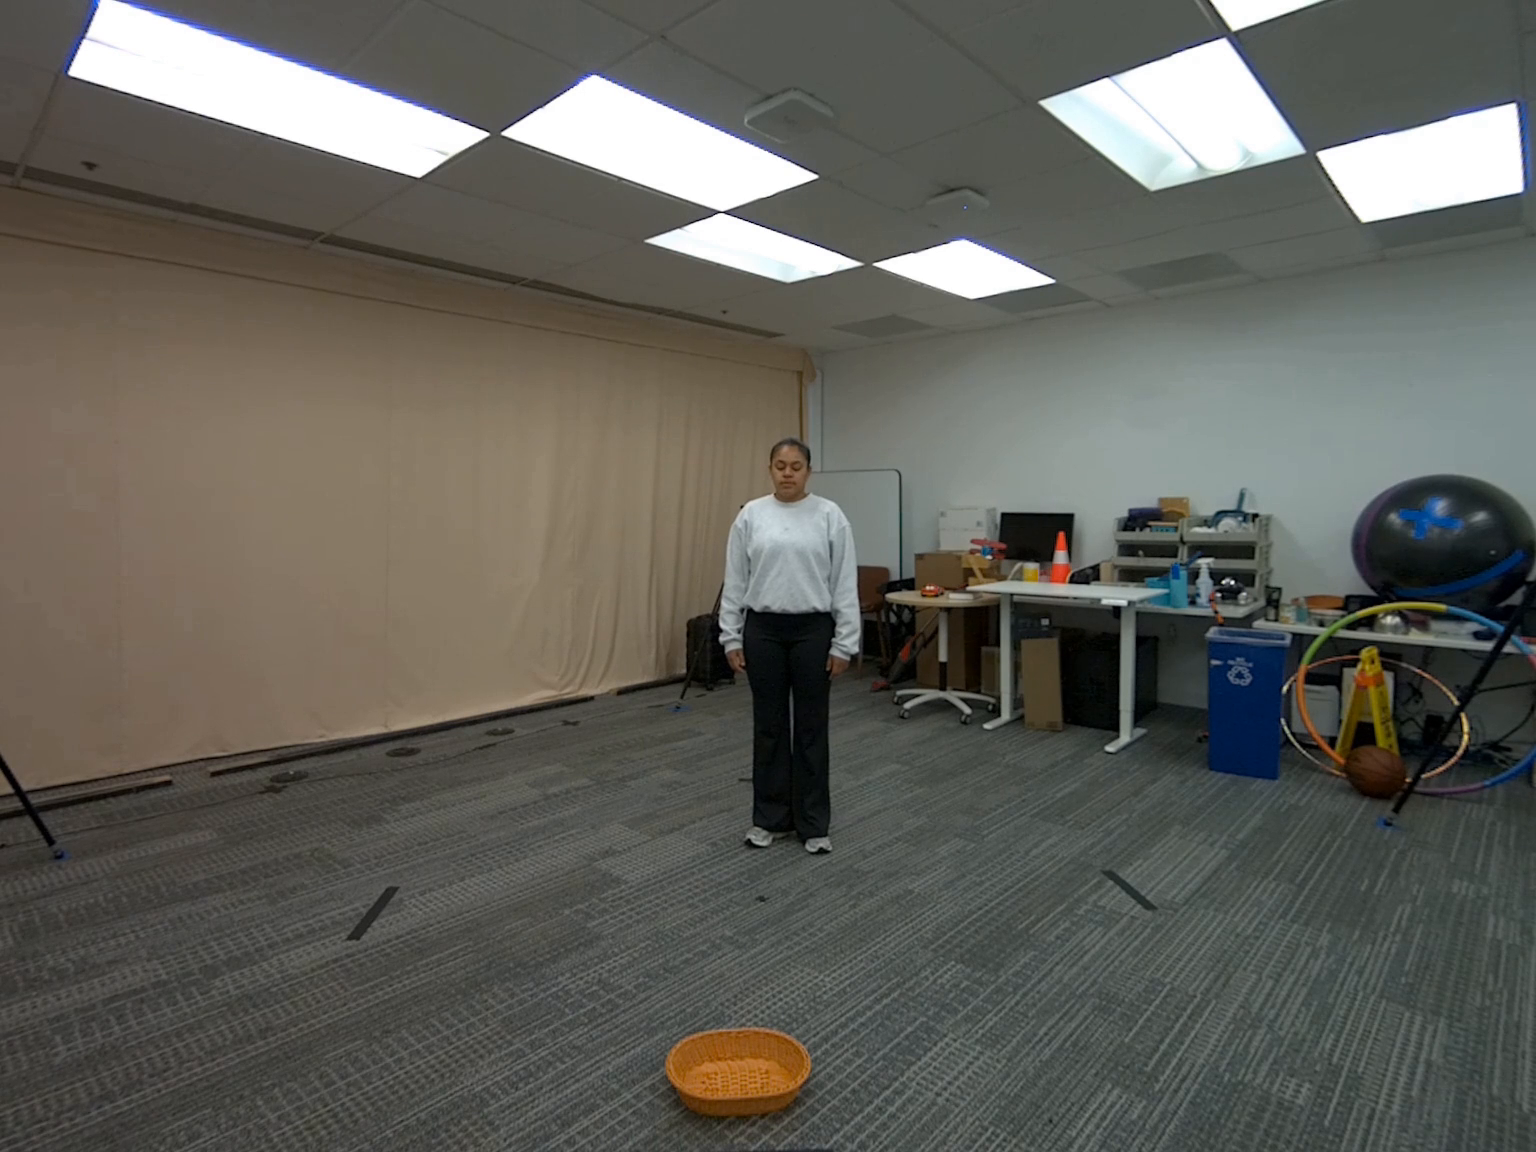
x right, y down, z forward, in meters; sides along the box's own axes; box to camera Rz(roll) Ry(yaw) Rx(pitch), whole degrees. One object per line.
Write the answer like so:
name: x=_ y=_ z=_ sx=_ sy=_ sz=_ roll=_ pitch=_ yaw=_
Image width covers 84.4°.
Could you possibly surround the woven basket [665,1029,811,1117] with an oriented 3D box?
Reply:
woven basket: x=-0.069 y=1.191 z=2.002 sx=0.348 sy=0.073 sz=0.255 roll=0 pitch=4 yaw=-7
